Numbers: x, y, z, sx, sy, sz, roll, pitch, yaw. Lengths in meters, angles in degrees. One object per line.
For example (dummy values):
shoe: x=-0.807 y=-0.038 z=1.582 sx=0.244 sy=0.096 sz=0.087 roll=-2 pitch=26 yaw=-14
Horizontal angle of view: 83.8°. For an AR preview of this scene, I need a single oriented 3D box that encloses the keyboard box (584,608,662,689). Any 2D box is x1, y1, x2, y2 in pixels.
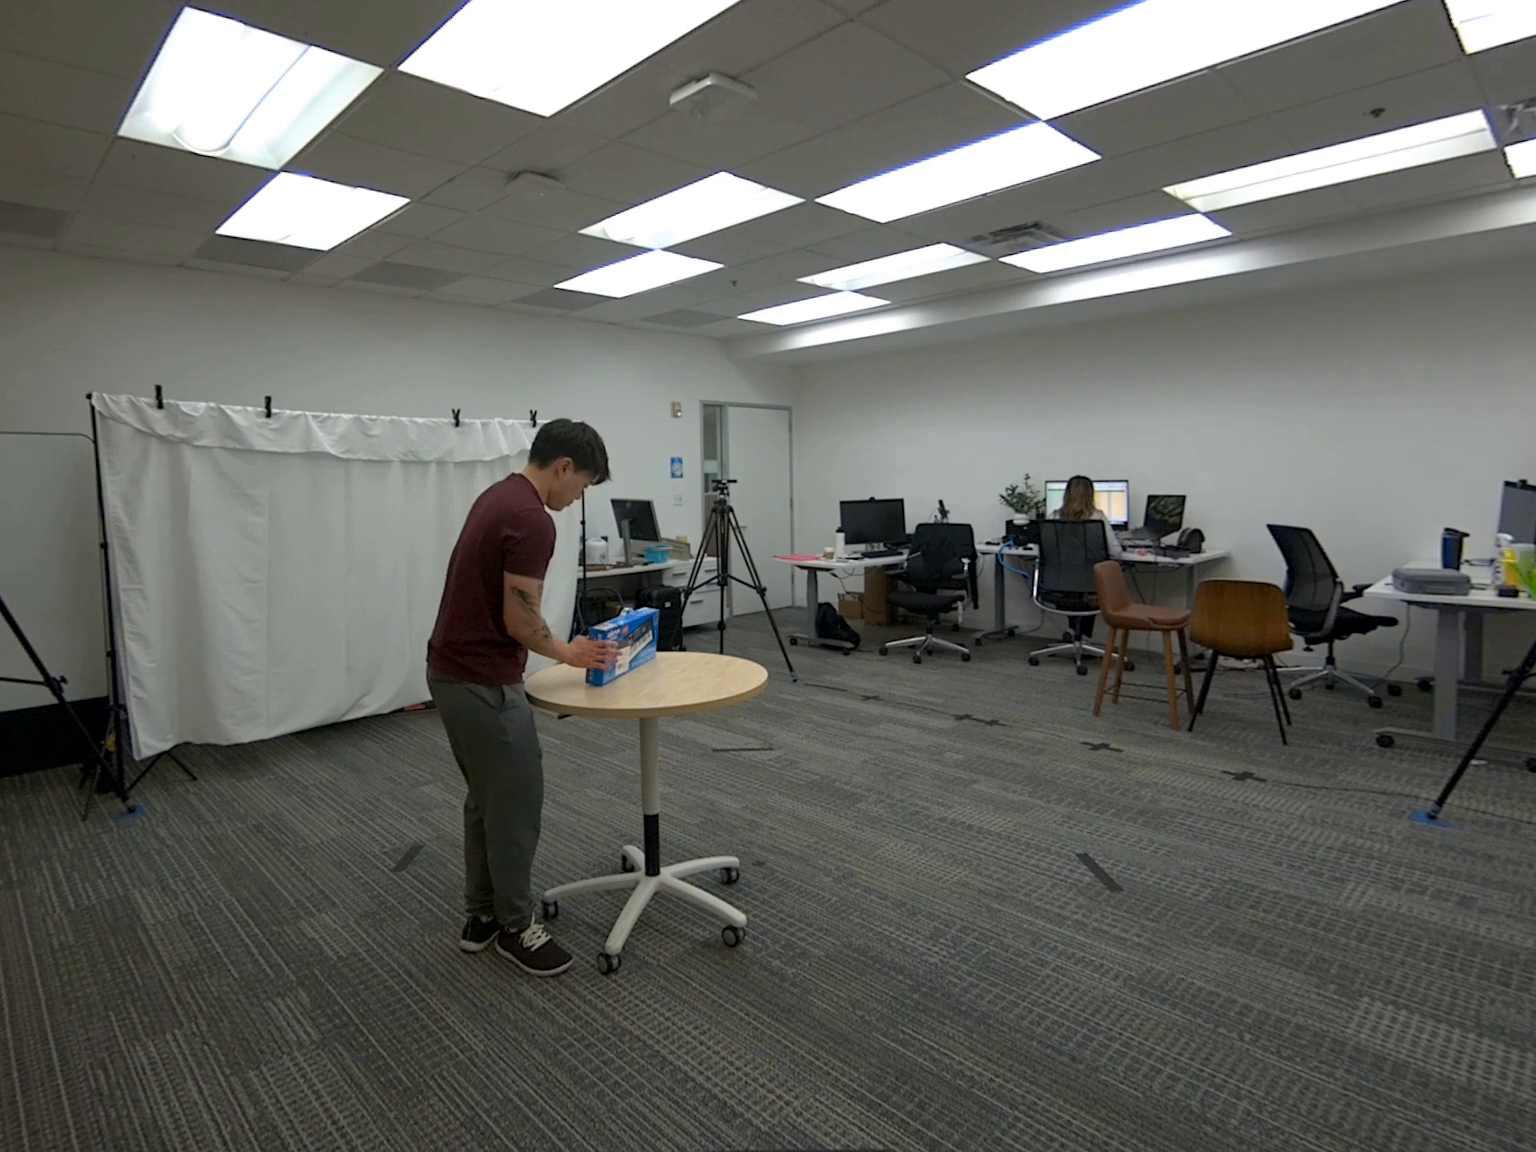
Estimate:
keyboard box: x=-0.465 y=0.225 z=2.787 sx=0.060 sy=0.175 sz=0.432 roll=7 pitch=7 yaw=14
